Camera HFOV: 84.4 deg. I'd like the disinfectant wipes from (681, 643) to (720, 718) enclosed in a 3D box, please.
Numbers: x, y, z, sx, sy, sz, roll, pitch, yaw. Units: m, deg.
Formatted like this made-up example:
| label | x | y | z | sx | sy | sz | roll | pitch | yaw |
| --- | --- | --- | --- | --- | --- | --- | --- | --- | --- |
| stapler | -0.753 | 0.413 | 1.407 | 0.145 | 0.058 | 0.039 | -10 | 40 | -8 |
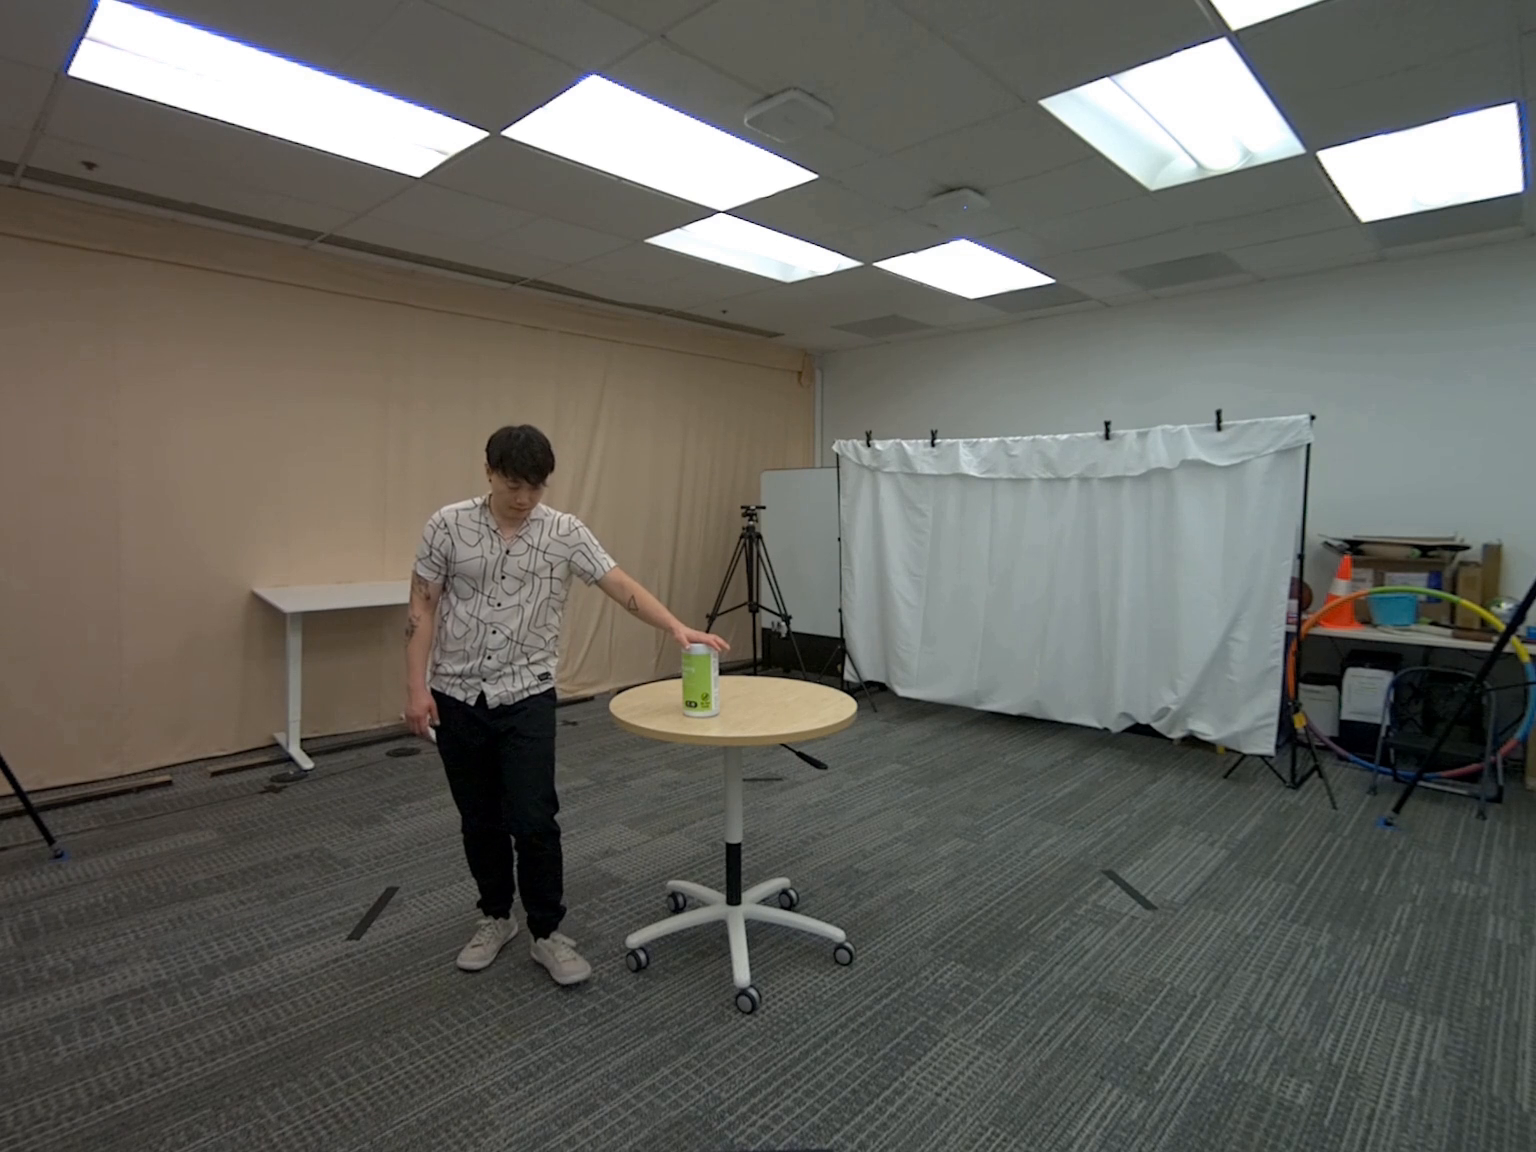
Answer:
| label | x | y | z | sx | sy | sz | roll | pitch | yaw |
| --- | --- | --- | --- | --- | --- | --- | --- | --- | --- |
| disinfectant wipes | -0.198 | 0.306 | 2.464 | 0.118 | 0.216 | 0.118 | -2 | 6 | -2 |
